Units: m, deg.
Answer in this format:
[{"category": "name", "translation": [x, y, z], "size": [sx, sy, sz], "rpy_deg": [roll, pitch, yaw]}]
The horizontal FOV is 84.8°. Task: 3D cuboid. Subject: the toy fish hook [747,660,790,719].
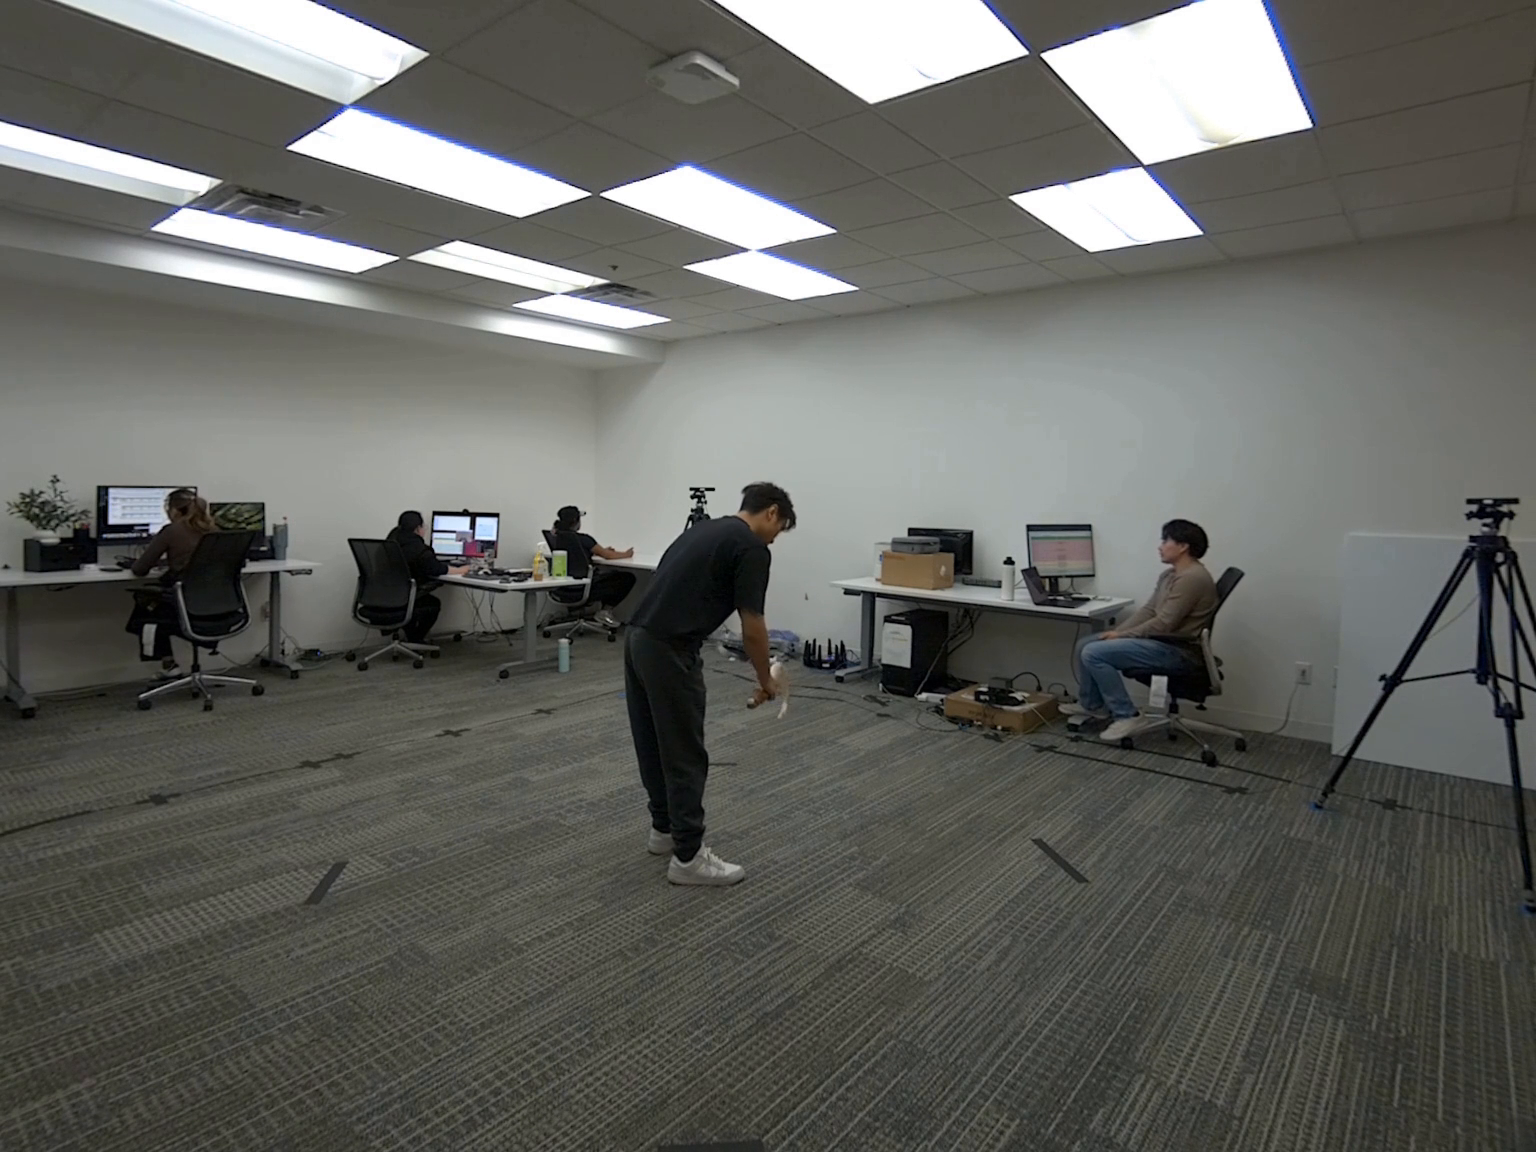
[{"category": "toy fish hook", "translation": [0.007, 0.474, 3.238], "size": [0.049, 0.224, 0.500], "rpy_deg": [-13, 4, 18]}]
